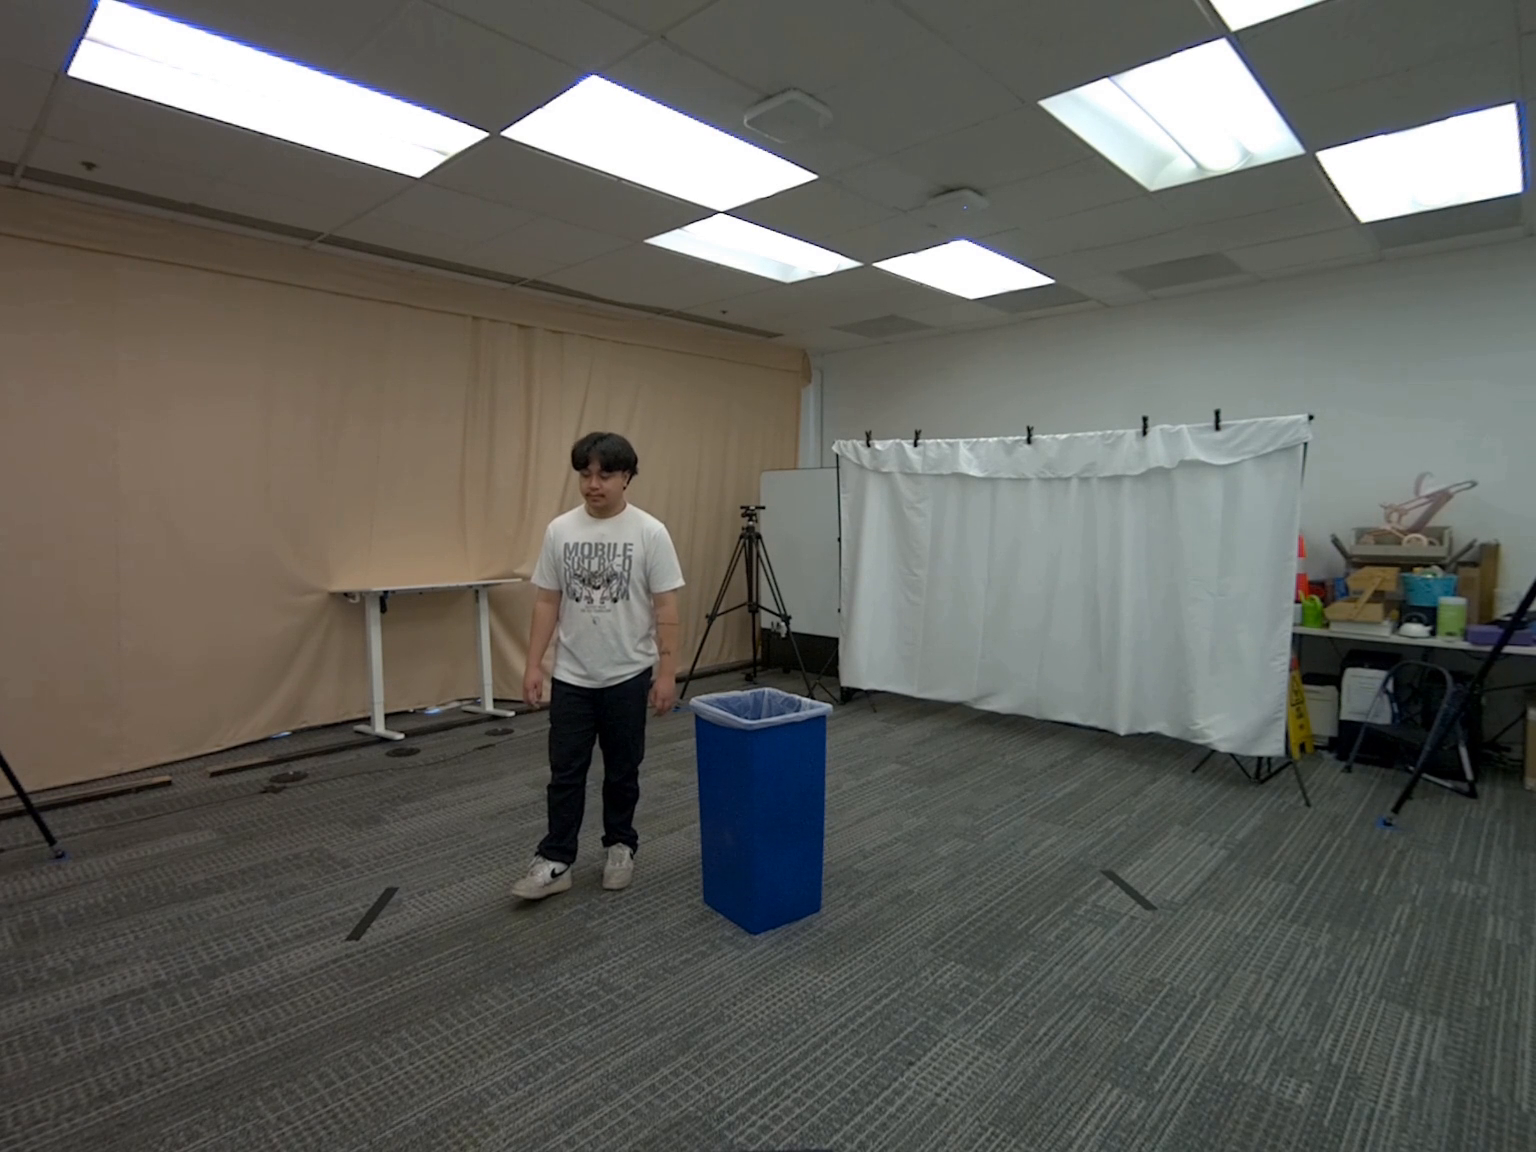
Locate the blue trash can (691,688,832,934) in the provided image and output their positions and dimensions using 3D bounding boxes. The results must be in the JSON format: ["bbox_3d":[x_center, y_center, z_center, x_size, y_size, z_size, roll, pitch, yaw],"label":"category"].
[{"bbox_3d":[-0.025,0.793,2.905,0.363,0.712,0.390,-2,4,-38],"label":"blue trash can"}]
